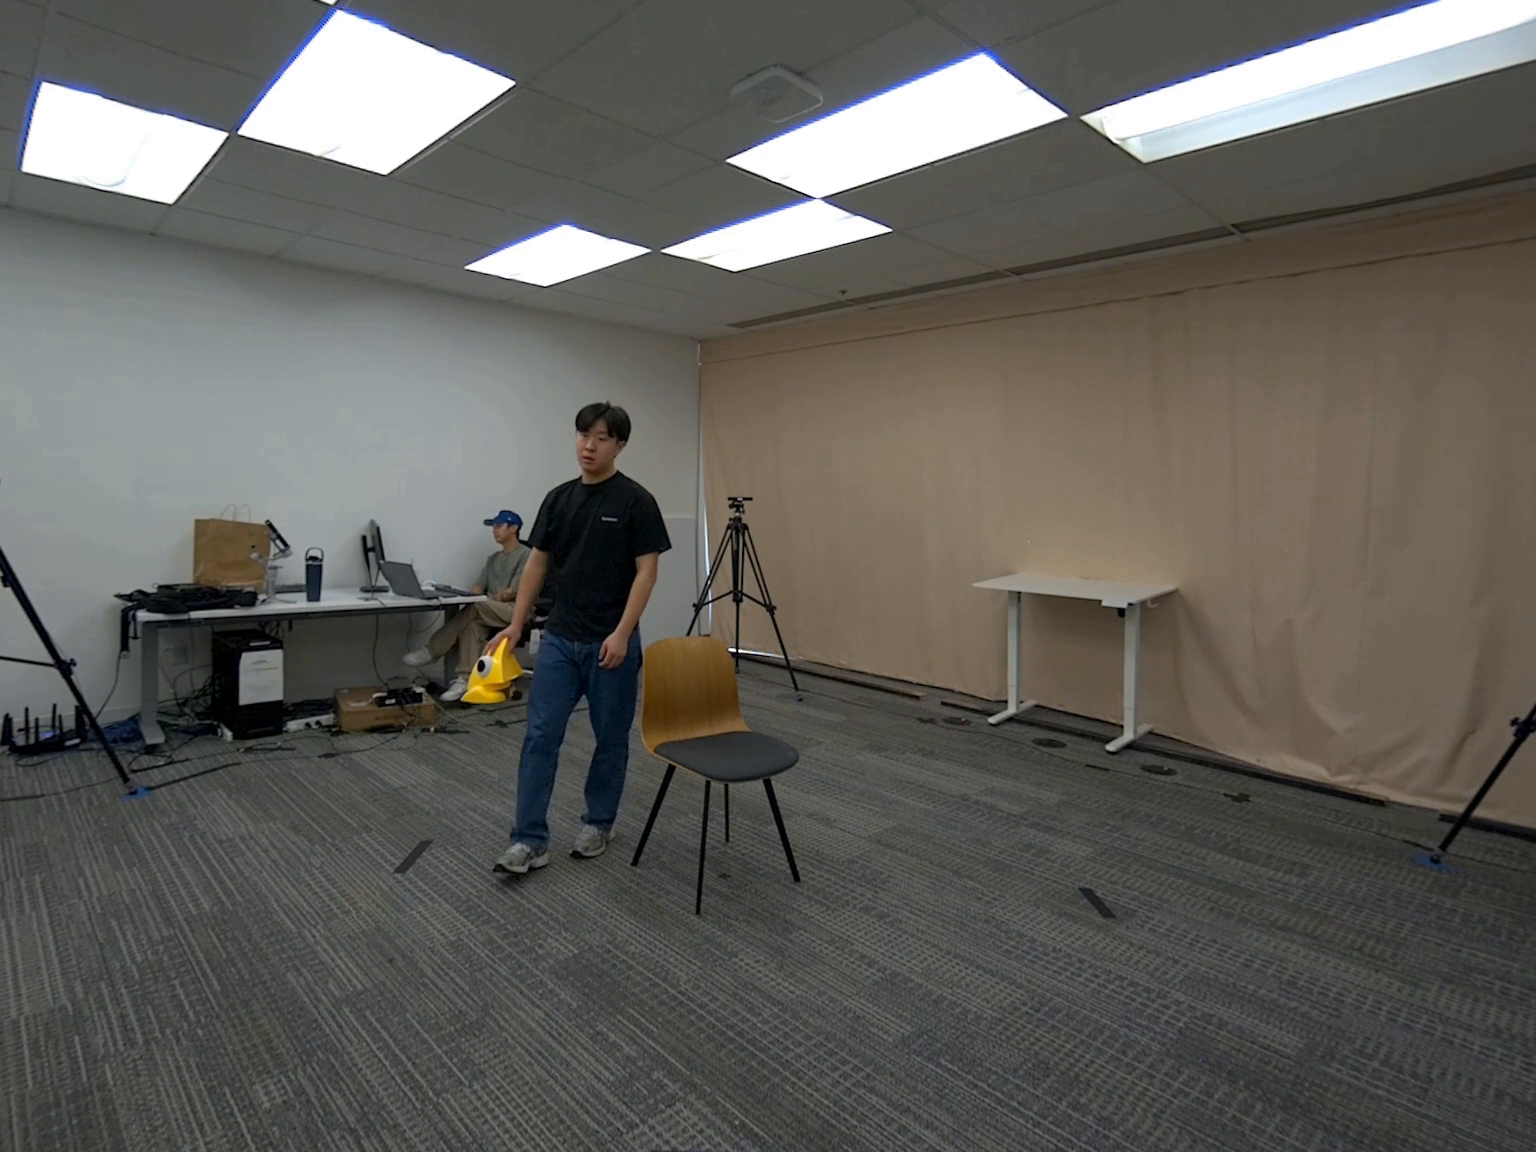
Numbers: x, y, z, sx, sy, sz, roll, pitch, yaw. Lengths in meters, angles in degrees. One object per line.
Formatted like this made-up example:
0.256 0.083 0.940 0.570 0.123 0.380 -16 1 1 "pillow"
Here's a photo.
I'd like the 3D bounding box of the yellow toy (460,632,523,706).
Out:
-1.052 0.347 3.200 0.194 0.230 0.204 1 2 6 "yellow toy"
